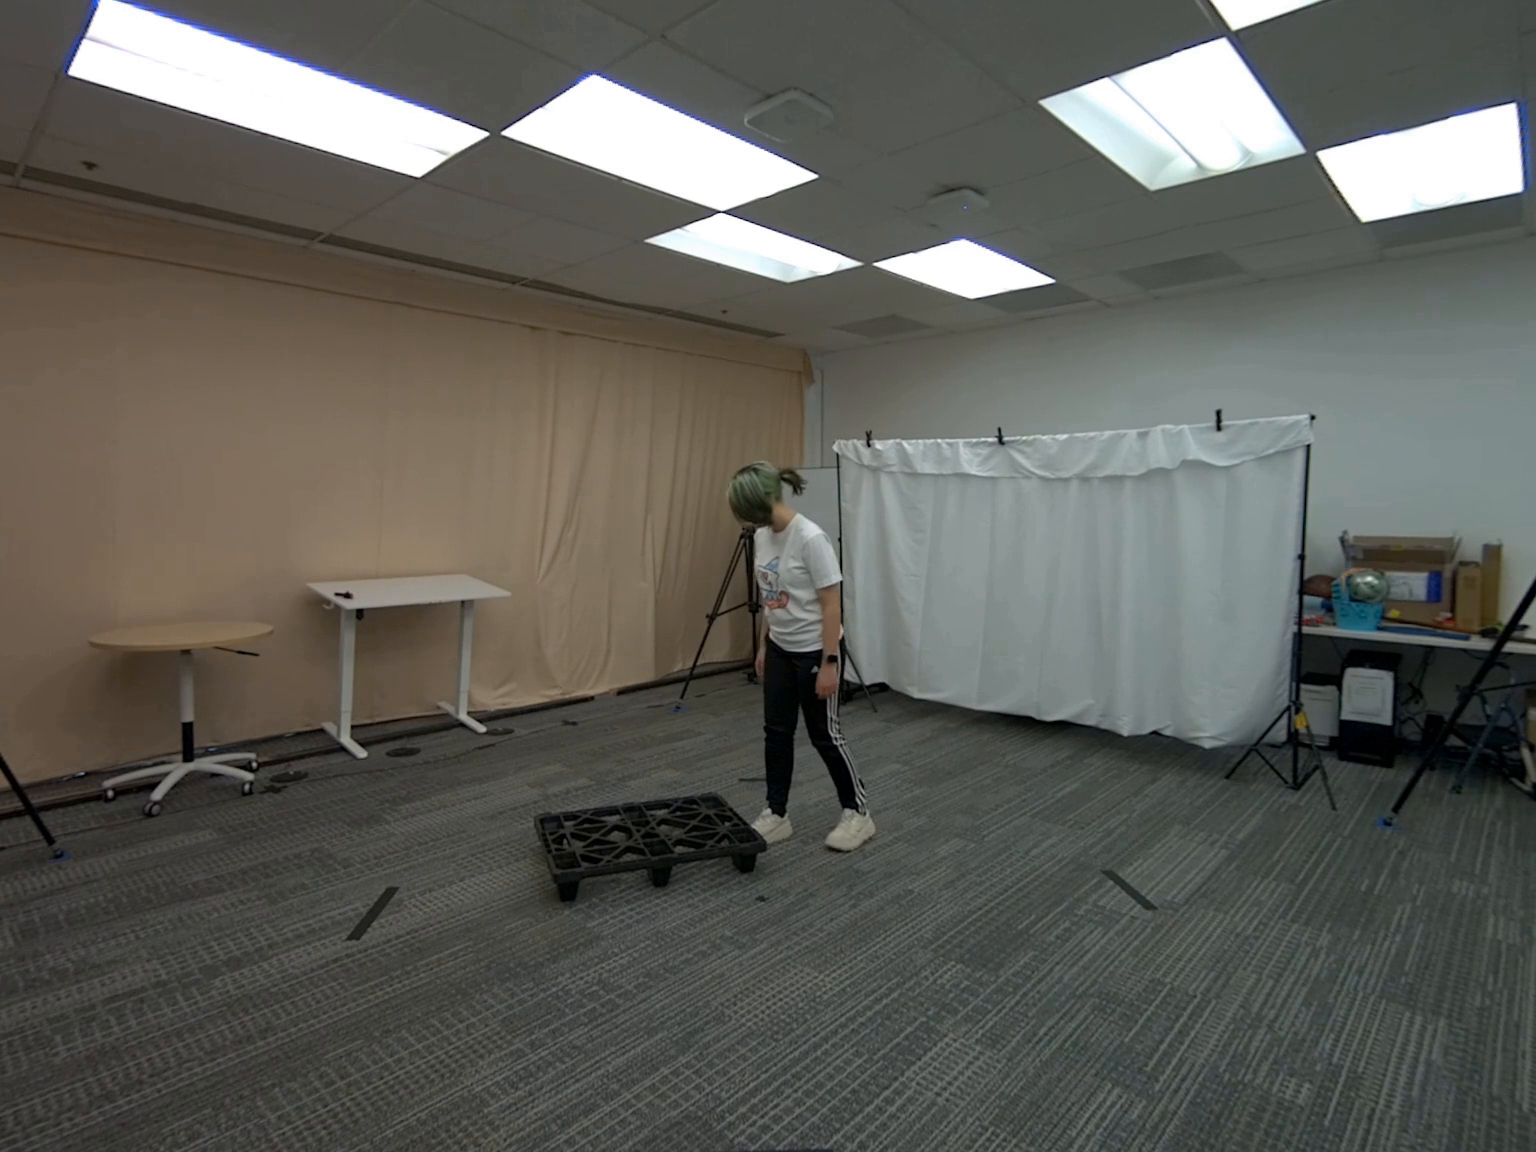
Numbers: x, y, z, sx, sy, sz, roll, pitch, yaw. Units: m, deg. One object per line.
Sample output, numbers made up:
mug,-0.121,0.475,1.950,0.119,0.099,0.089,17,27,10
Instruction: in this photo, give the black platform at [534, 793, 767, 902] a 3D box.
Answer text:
black platform,-0.480,1.053,3.302,0.790,0.143,0.618,-2,4,-20
